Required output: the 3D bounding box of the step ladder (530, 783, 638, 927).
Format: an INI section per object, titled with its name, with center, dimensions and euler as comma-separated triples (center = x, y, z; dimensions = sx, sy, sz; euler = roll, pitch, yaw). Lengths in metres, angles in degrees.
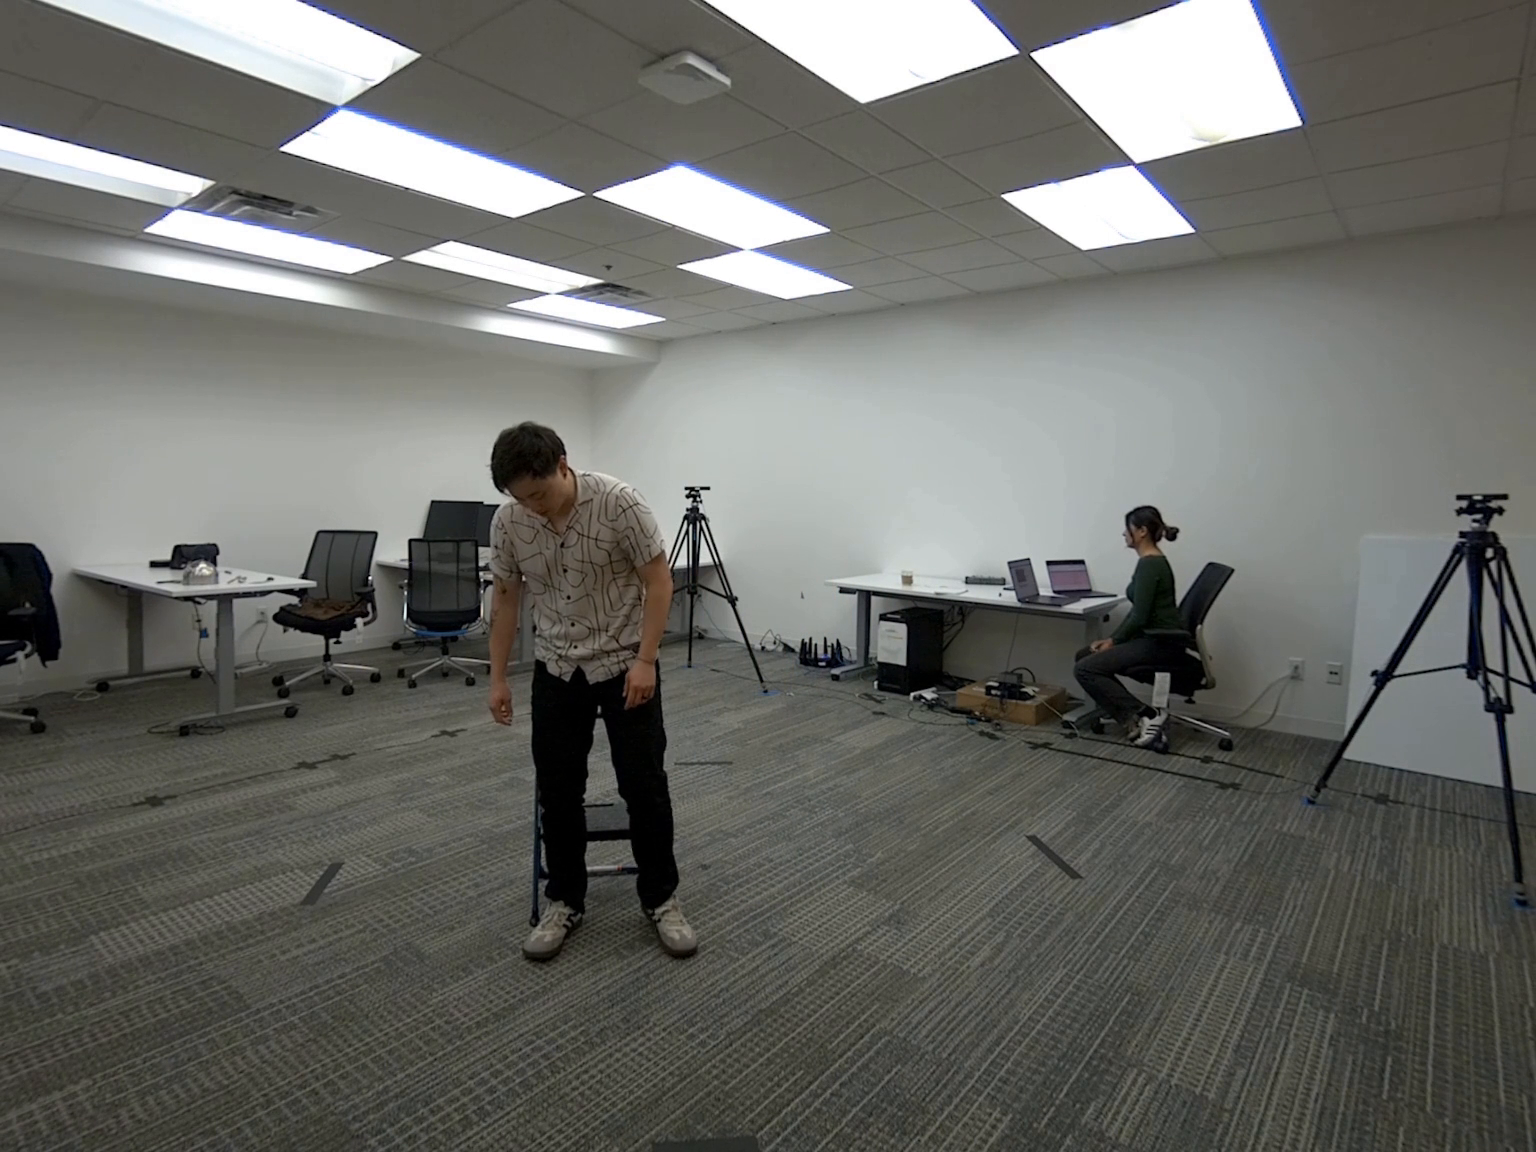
[step ladder]
center = -0.589, 0.784, 2.877
dimensions = 0.425, 0.604, 0.355
euler = 0, 4, -12
